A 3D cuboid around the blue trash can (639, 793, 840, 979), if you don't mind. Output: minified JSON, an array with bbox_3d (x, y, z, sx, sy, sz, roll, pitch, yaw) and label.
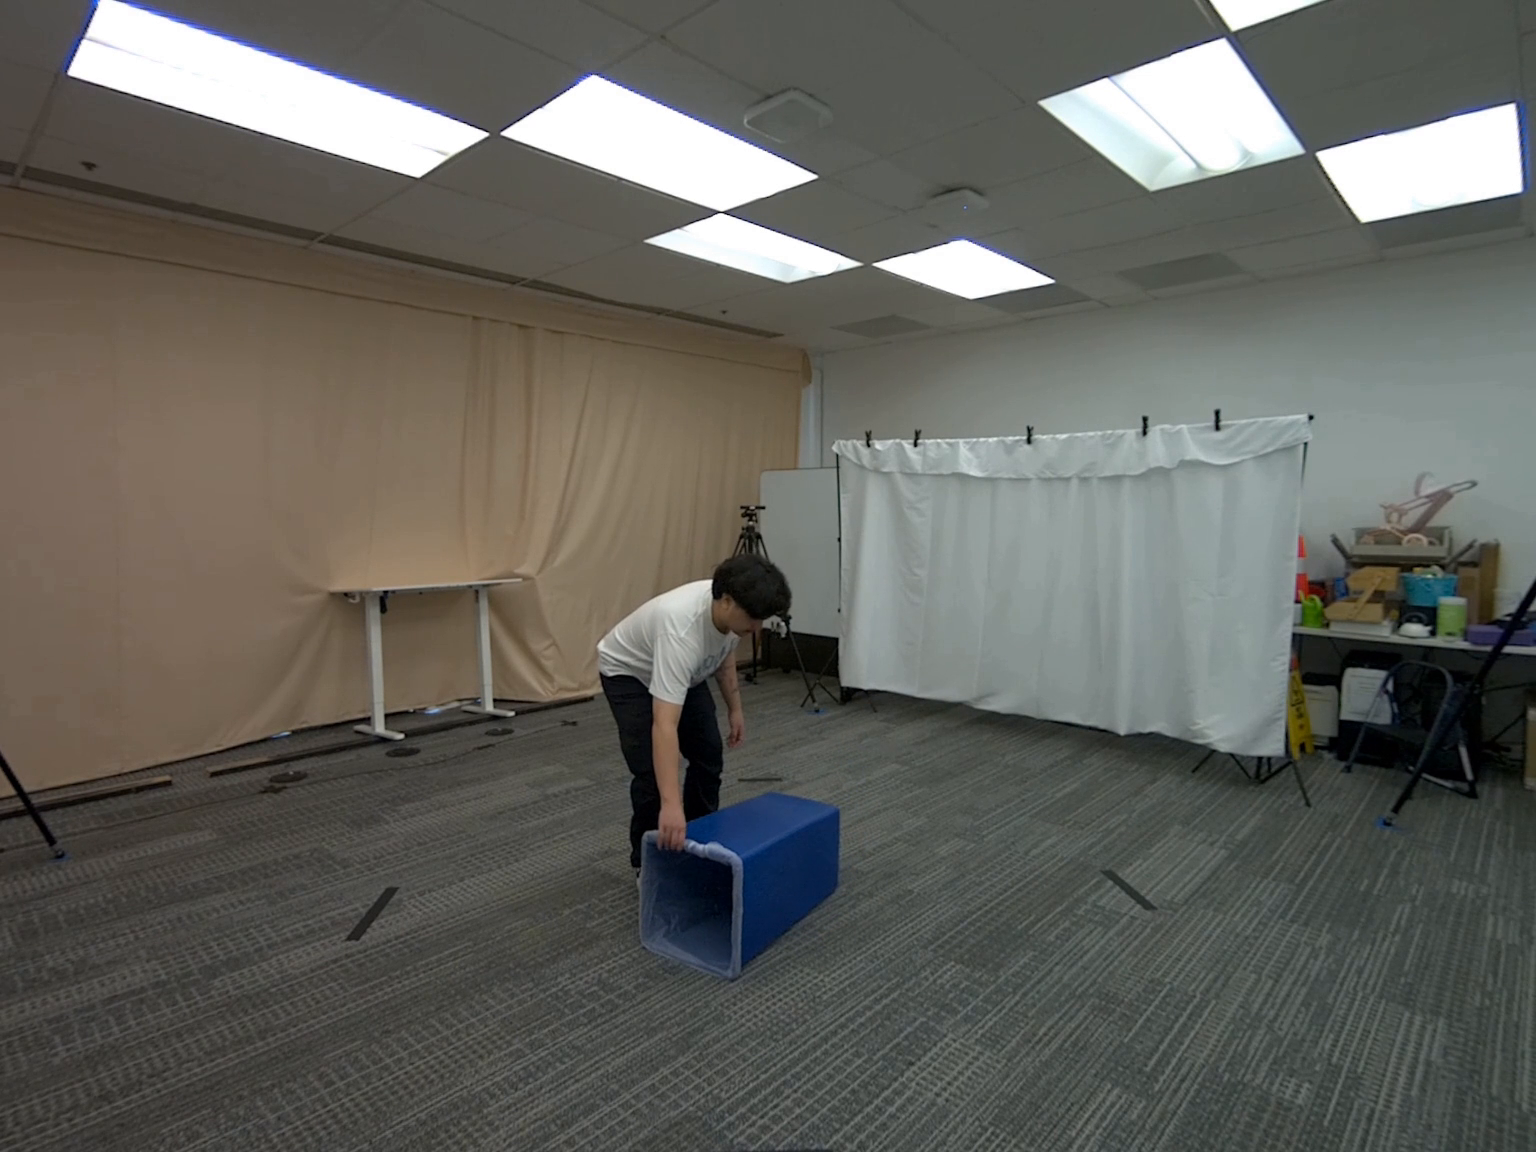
[{"bbox_3d":[-0.049,0.996,2.838,0.389,0.374,0.692,2,1,33],"label":"blue trash can"}]
